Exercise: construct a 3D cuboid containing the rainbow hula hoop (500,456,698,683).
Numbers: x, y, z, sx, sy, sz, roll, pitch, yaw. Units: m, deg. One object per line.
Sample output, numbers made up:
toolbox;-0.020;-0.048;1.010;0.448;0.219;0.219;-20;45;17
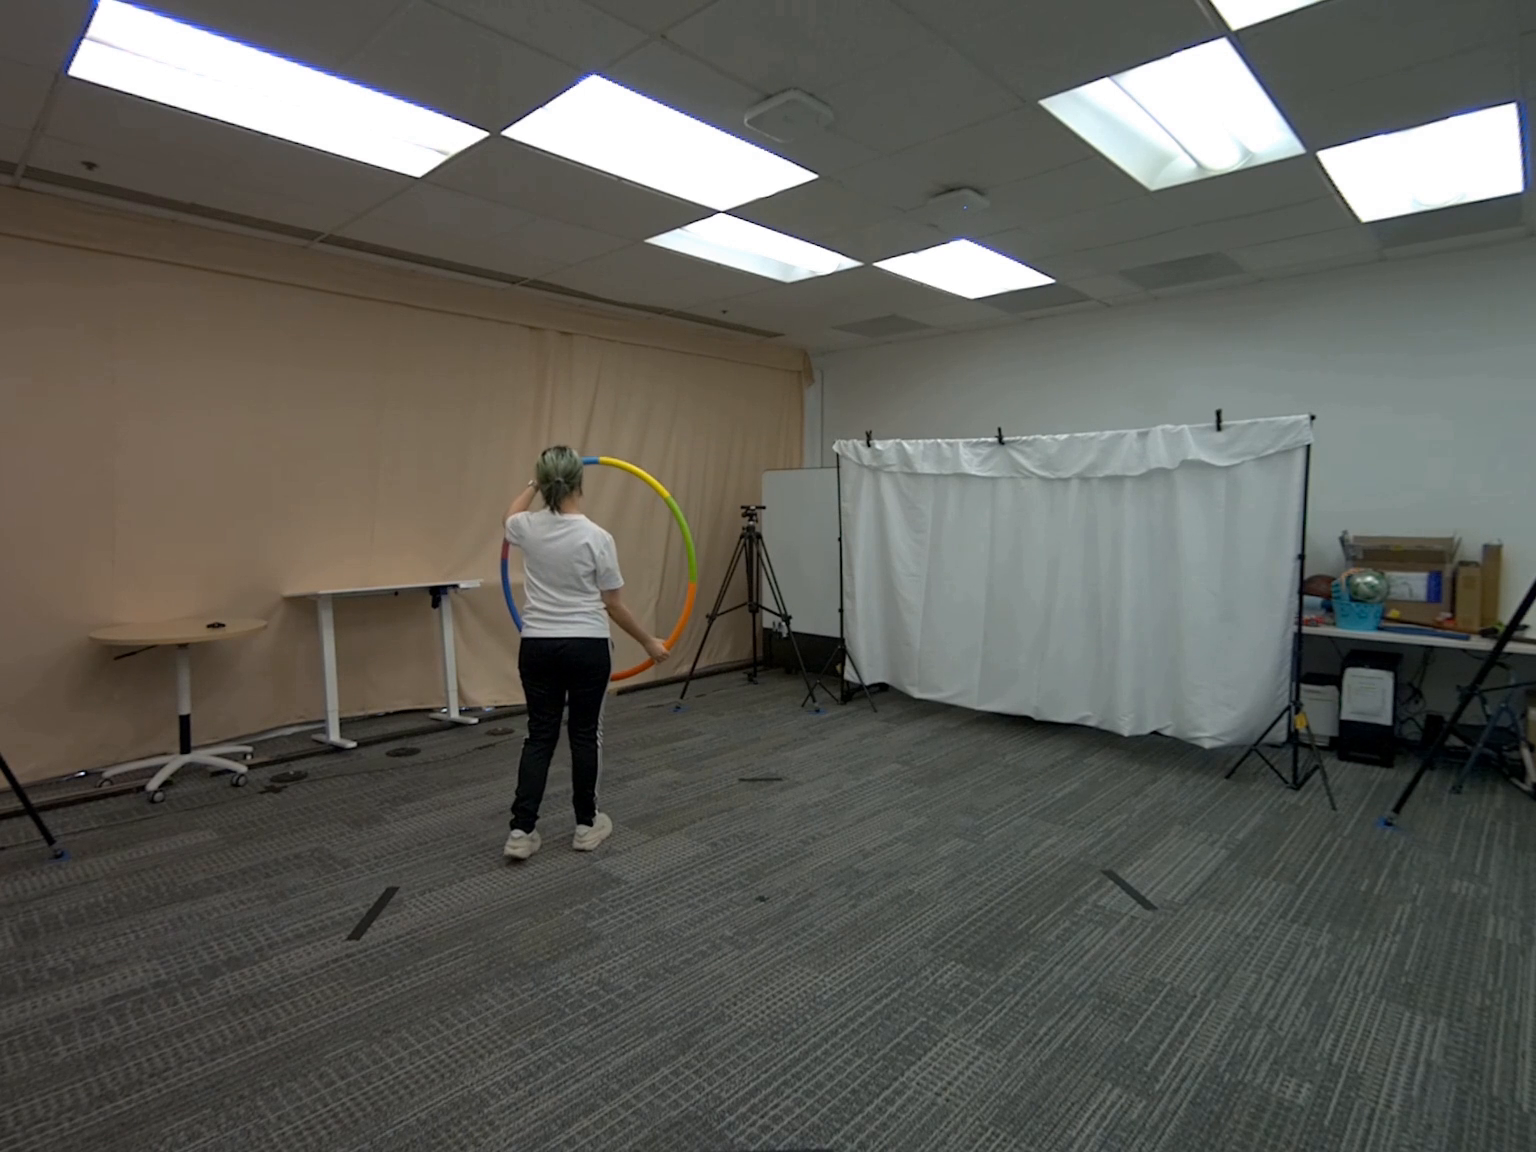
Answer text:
rainbow hula hoop;-0.760;-0.024;3.699;1.000;0.976;0.035;1;3;21
